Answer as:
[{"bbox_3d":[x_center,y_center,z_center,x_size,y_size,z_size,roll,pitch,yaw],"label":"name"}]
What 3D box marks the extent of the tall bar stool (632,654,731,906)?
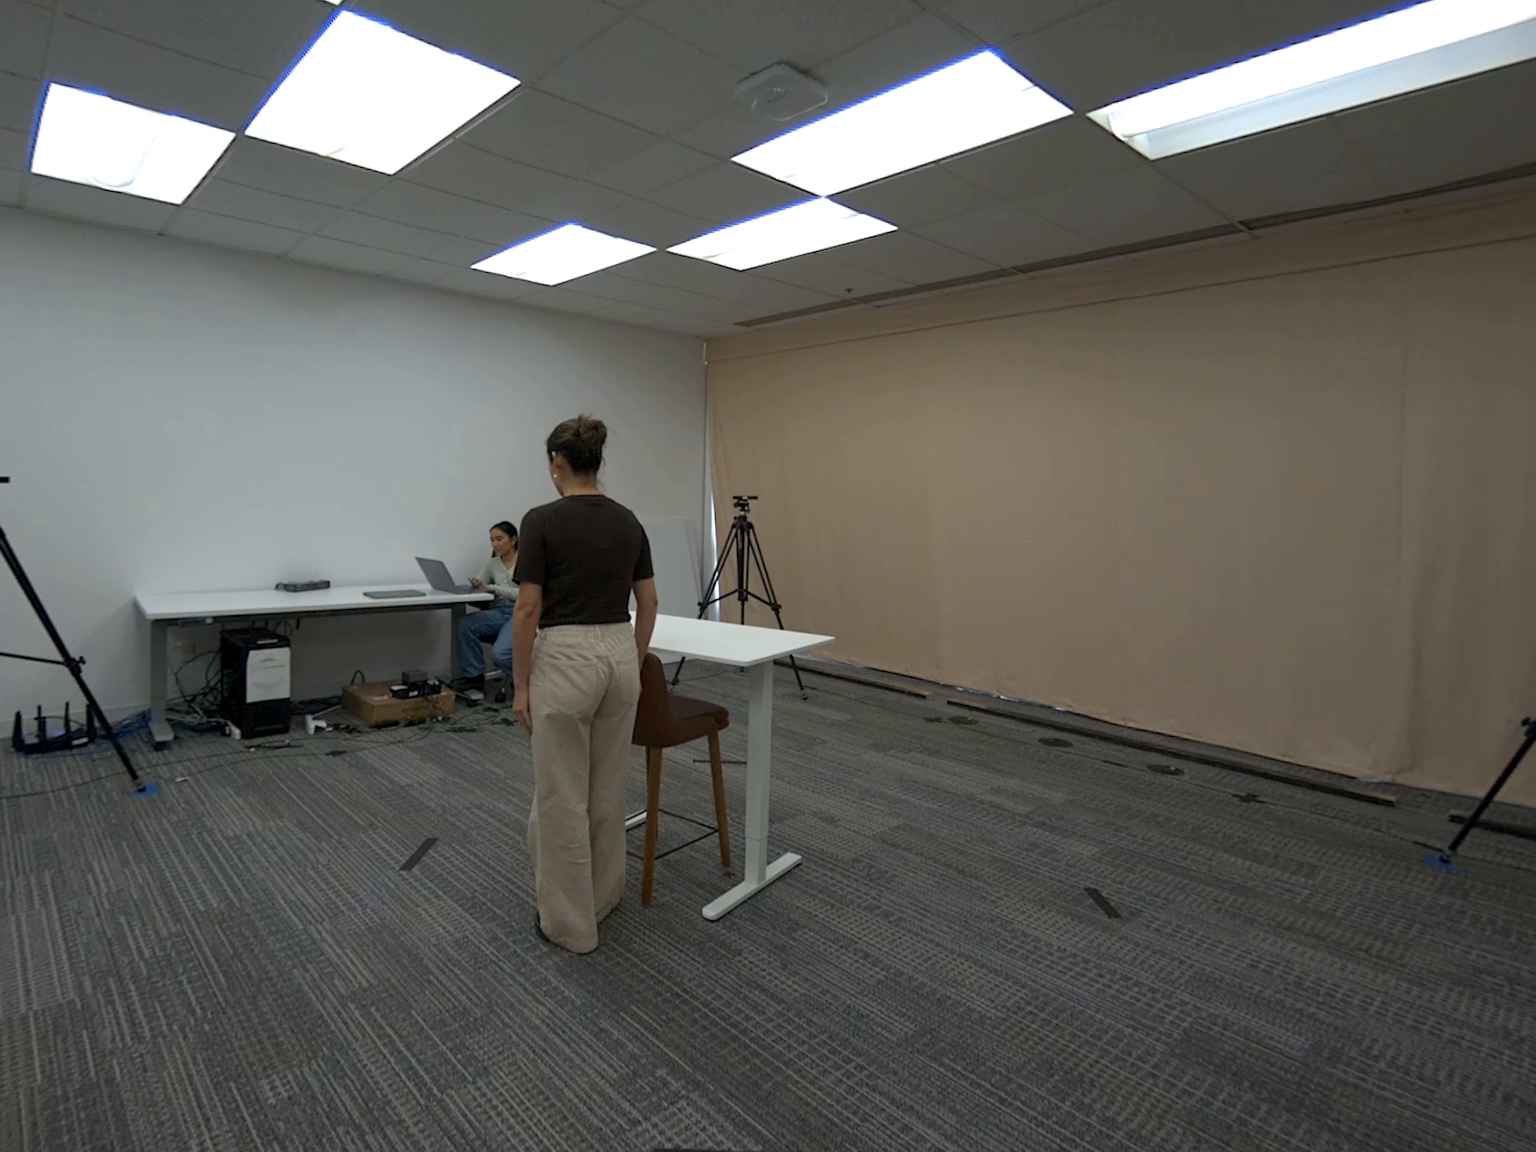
[{"bbox_3d":[-0.431,0.665,3.095,0.468,0.886,0.458,4,7,36],"label":"tall bar stool"}]
